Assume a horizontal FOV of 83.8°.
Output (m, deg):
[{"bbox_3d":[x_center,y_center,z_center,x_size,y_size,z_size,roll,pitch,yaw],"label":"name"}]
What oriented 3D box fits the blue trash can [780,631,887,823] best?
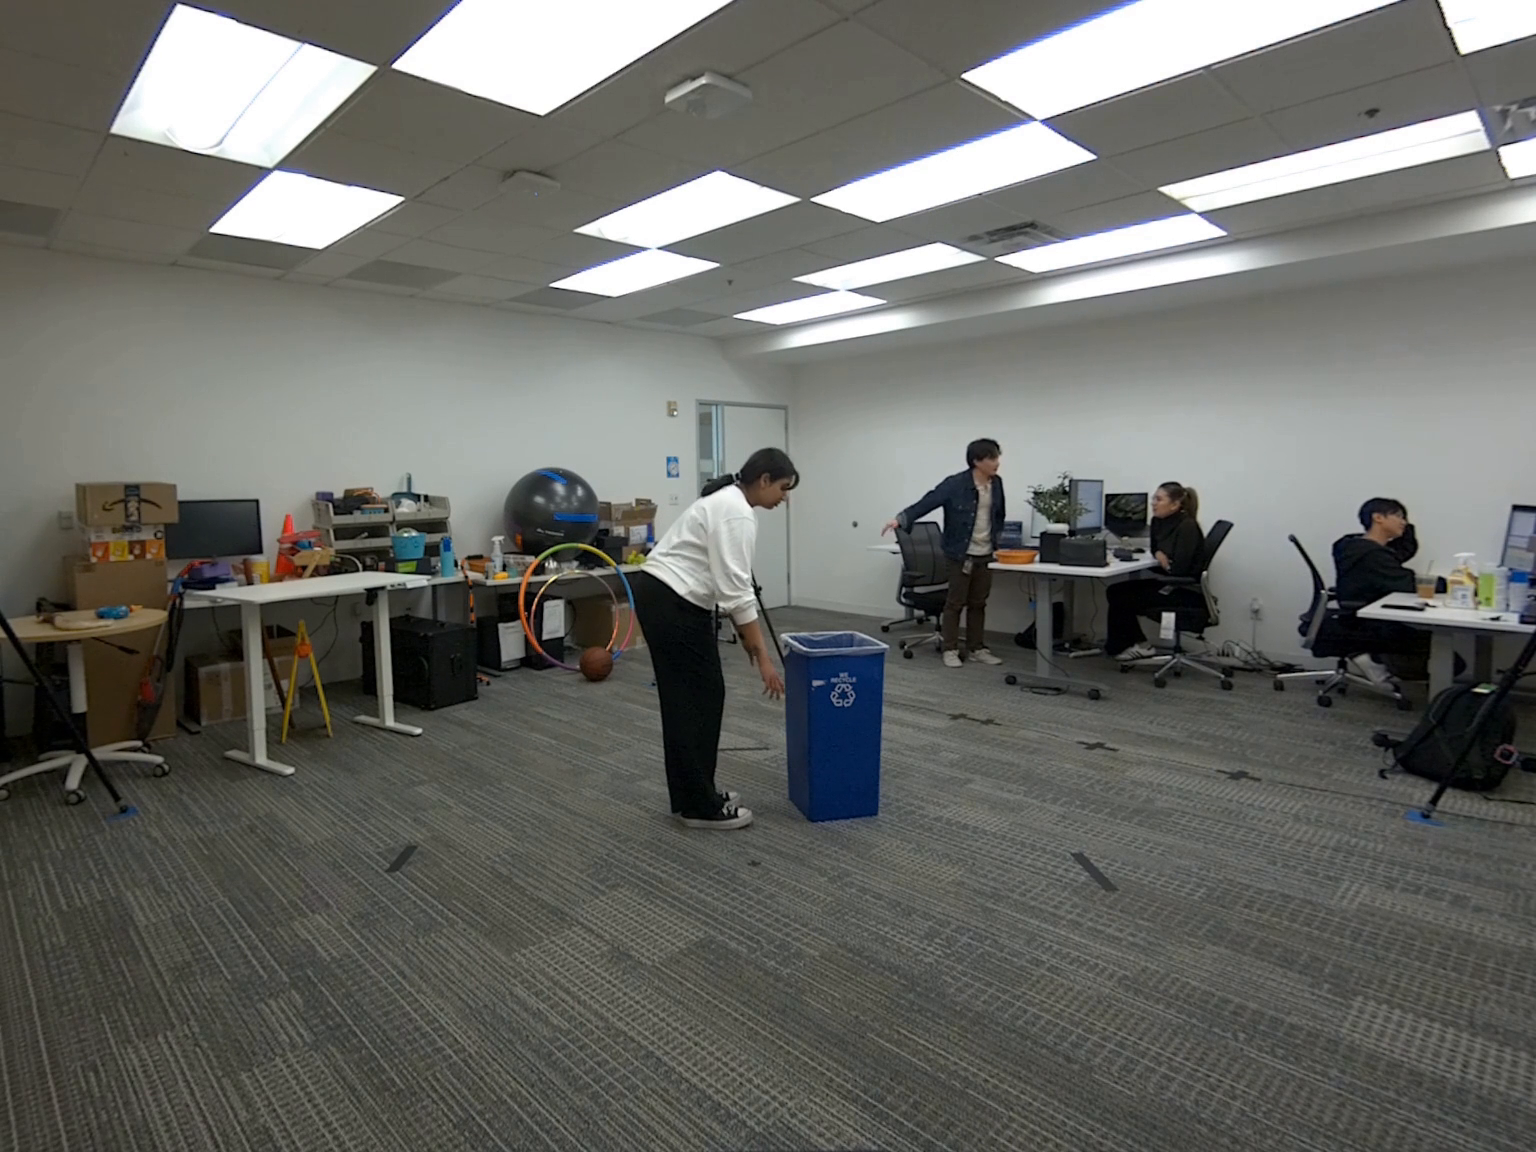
[{"bbox_3d":[0.273,0.621,3.617,0.369,0.711,0.385,-1,4,-15],"label":"blue trash can"}]
